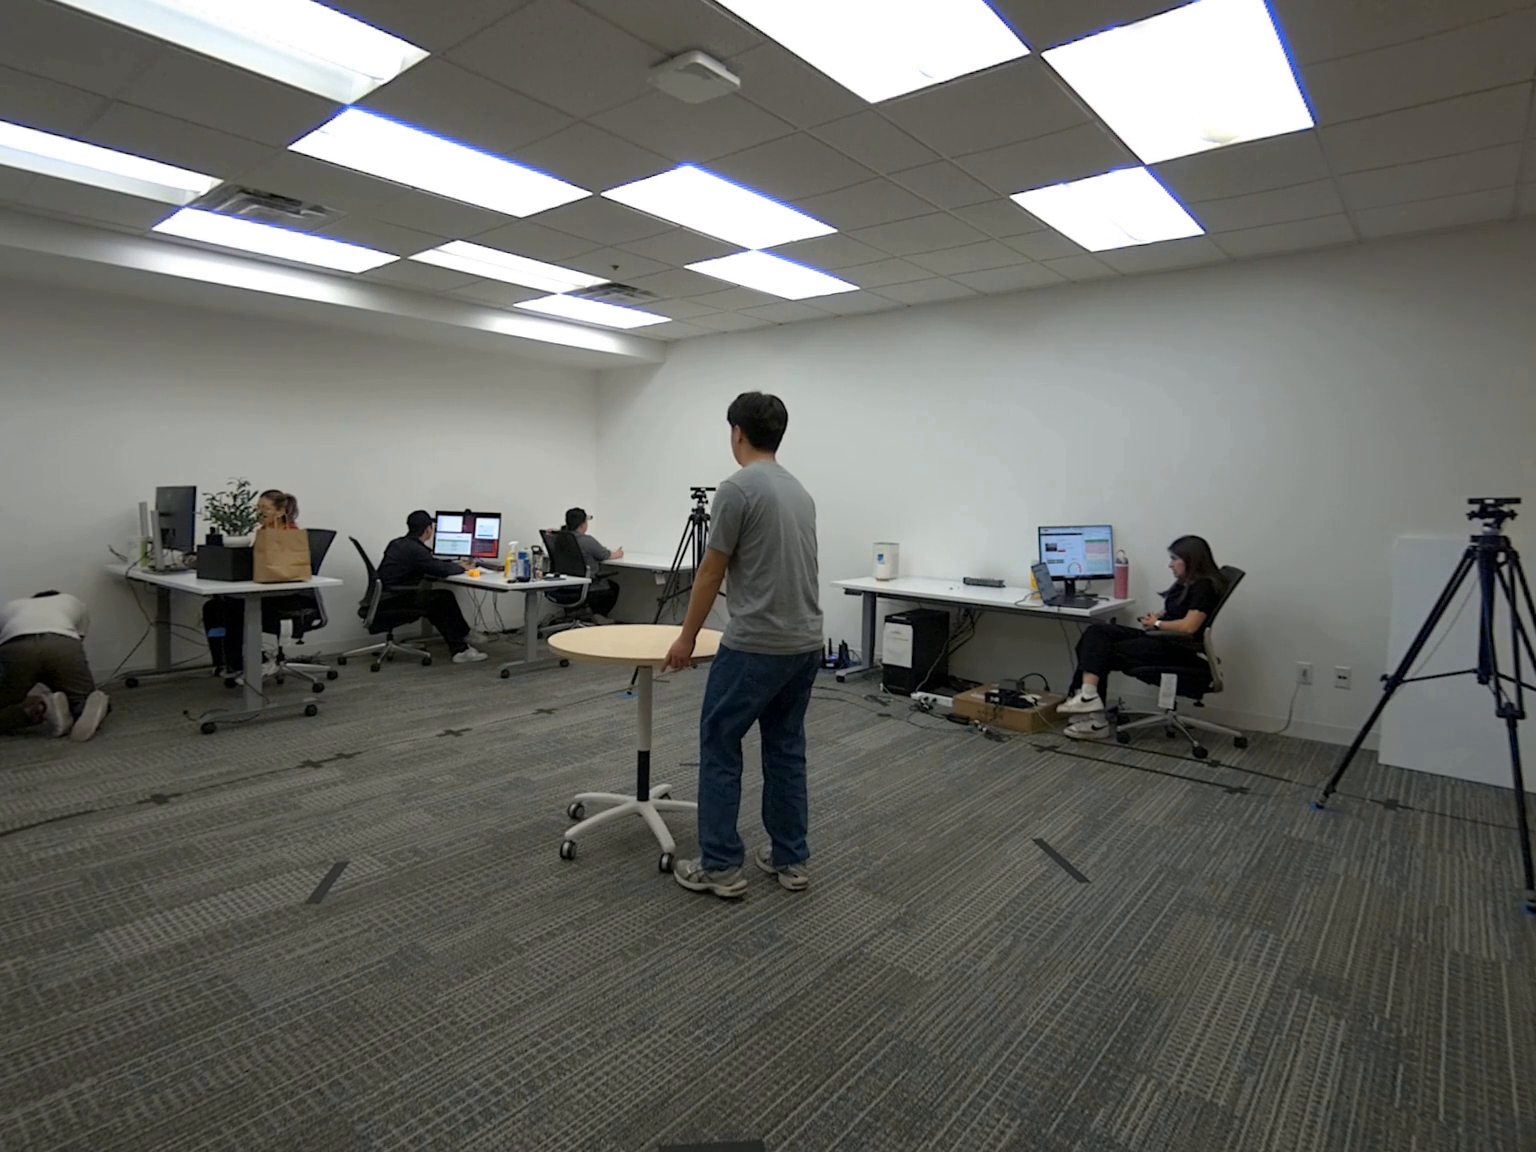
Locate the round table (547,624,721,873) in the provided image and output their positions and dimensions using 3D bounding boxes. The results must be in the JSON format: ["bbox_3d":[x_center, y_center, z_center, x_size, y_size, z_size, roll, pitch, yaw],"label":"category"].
[{"bbox_3d":[-0.503,0.643,3.384,0.763,0.792,0.767,1,4,-2],"label":"round table"}]
